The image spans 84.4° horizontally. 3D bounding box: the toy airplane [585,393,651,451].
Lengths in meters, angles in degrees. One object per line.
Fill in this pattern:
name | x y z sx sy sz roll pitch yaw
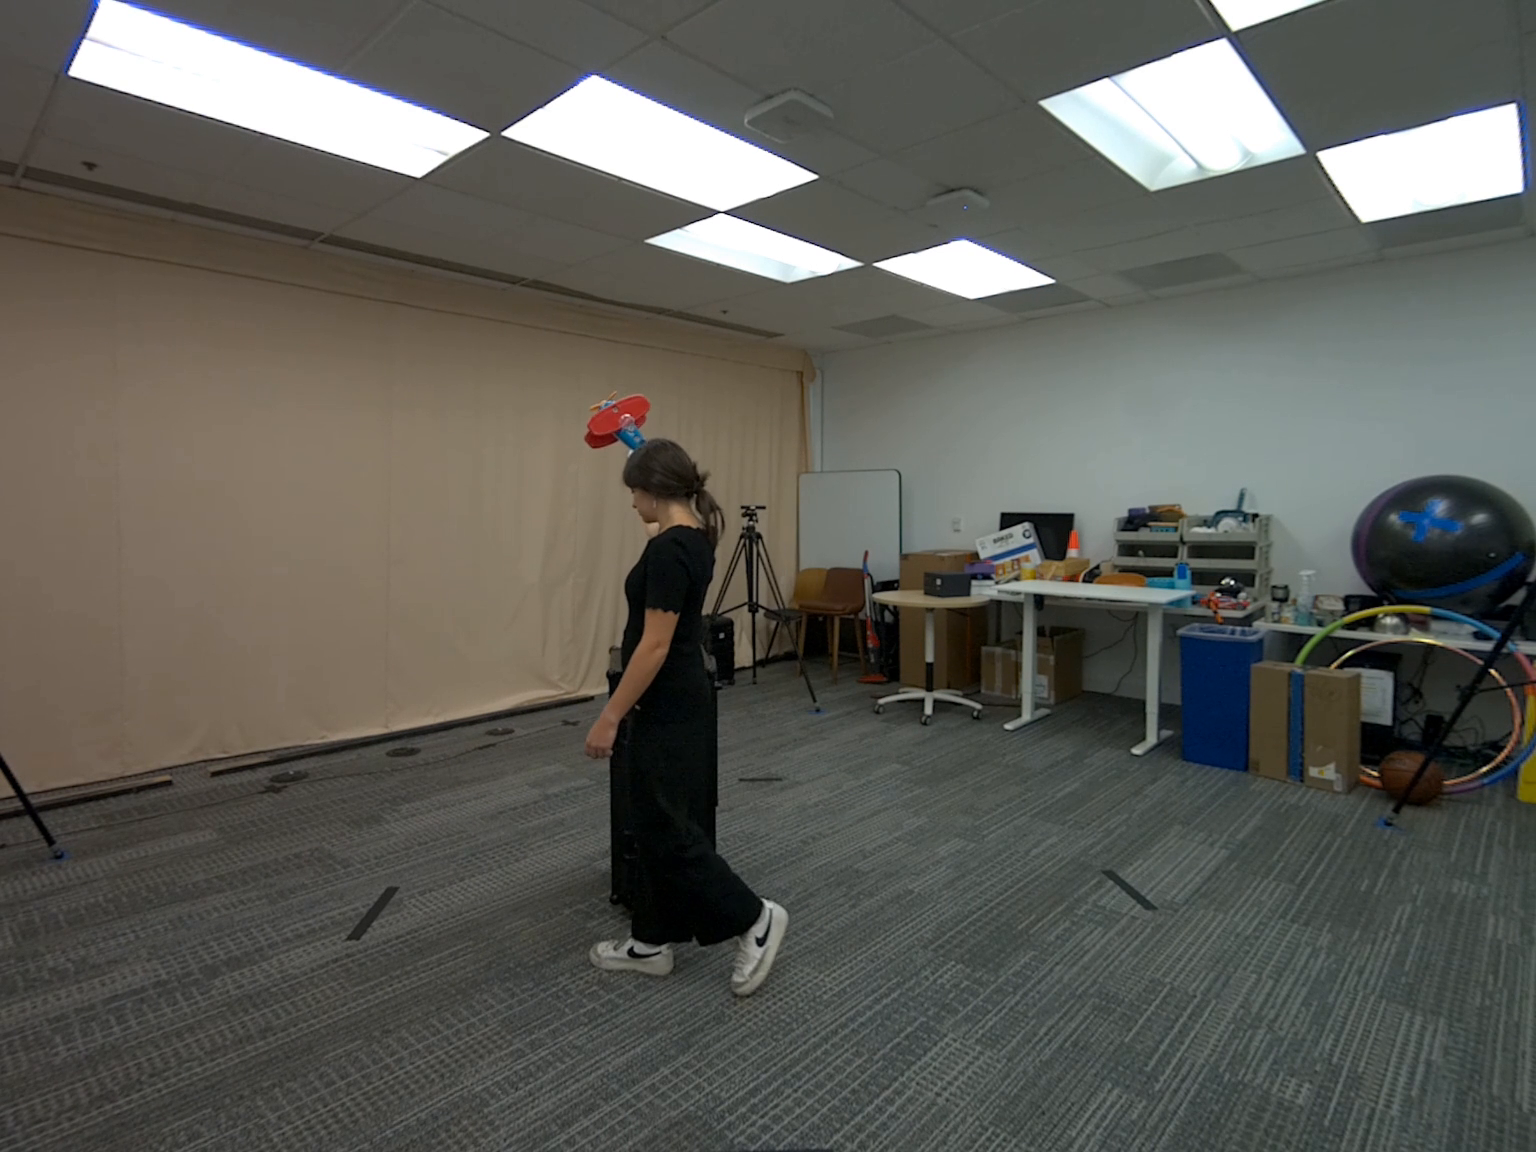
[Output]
toy airplane | -0.497 -0.524 3.002 0.261 0.252 0.154 18 -37 6
